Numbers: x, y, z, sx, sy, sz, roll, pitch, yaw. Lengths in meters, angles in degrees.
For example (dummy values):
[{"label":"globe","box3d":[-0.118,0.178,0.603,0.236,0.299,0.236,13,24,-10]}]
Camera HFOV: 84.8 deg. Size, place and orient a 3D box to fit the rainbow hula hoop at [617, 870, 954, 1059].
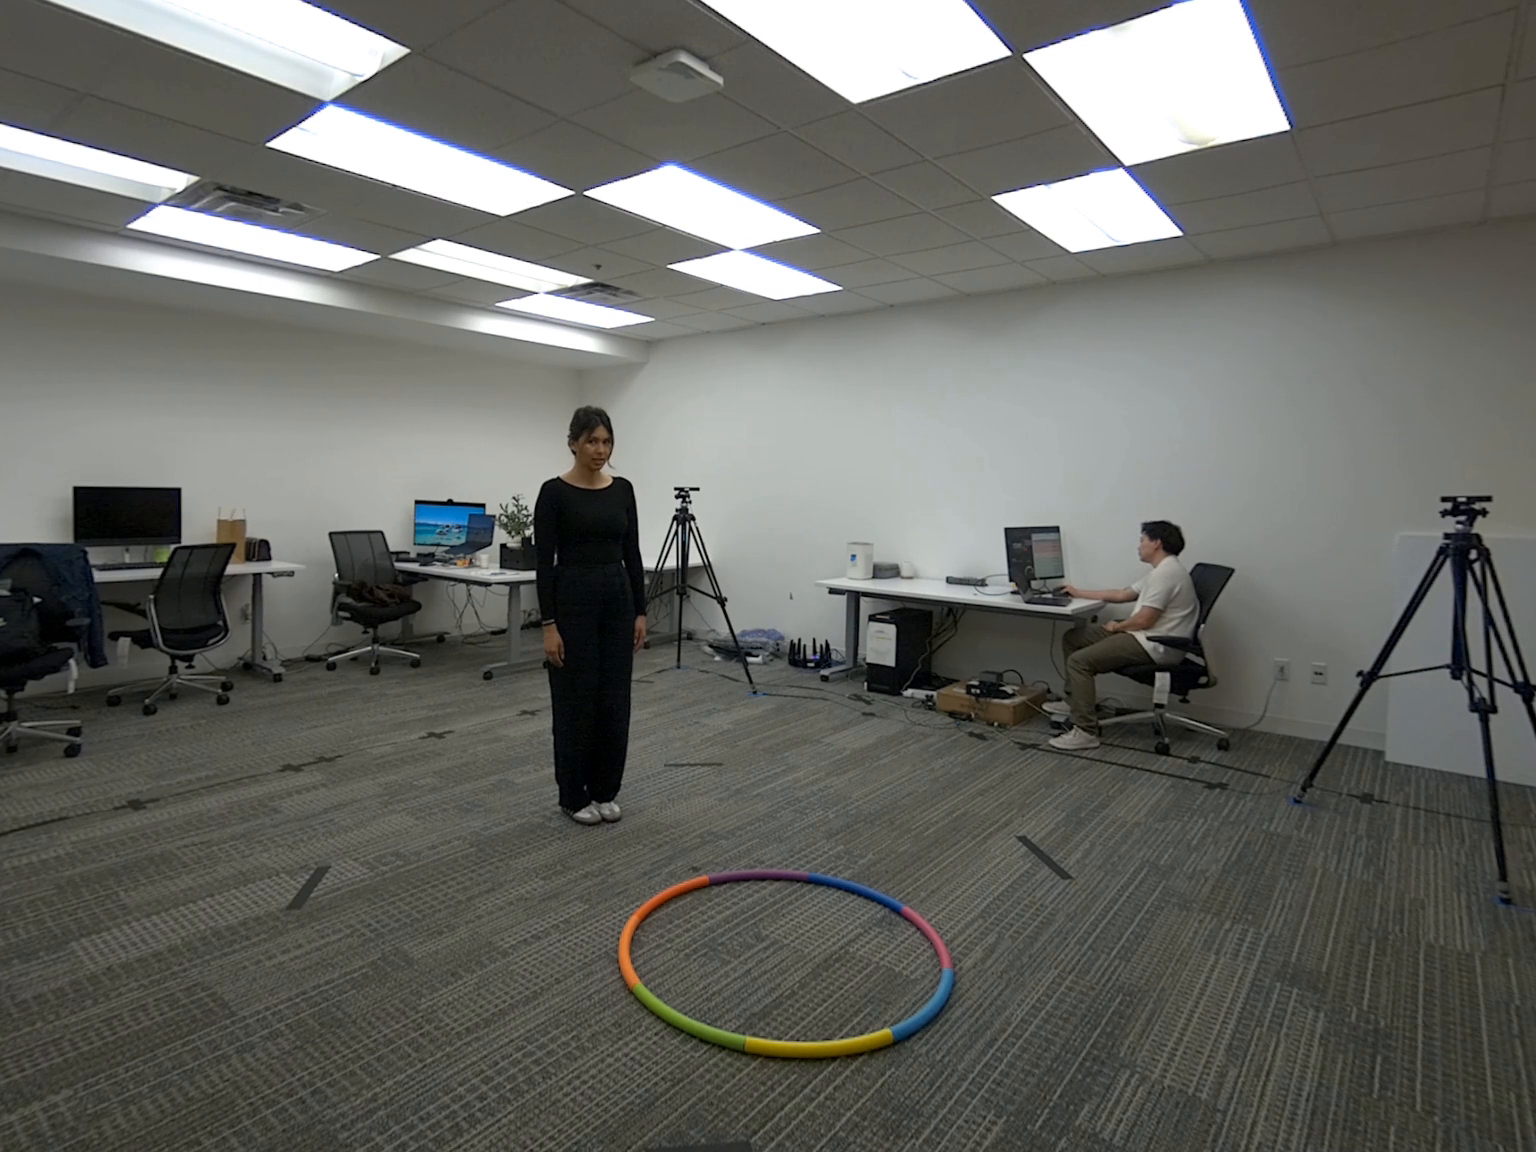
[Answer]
[{"label":"rainbow hula hoop","box3d":[0.039,1.095,2.562,0.978,0.035,0.984,1,6,-2]}]
